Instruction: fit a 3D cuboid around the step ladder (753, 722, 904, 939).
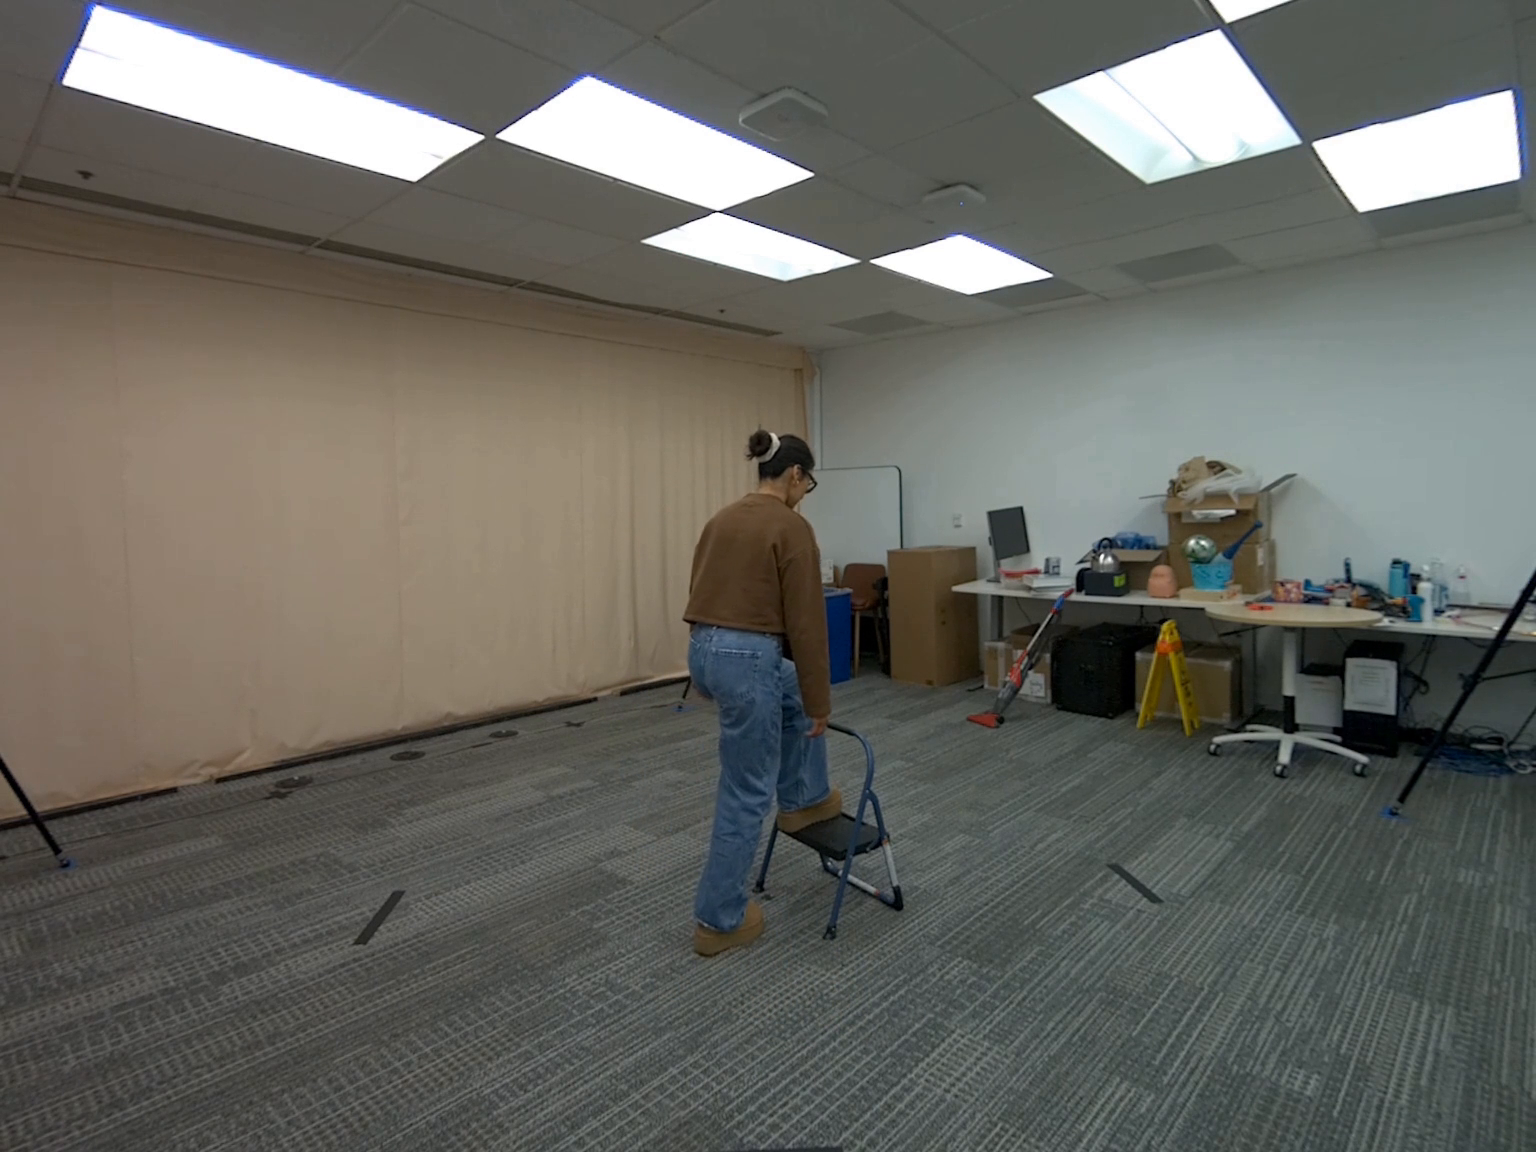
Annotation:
[{"bbox_3d":[0.207,0.835,2.939,0.339,0.605,0.444,-3,3,-35],"label":"step ladder"}]
